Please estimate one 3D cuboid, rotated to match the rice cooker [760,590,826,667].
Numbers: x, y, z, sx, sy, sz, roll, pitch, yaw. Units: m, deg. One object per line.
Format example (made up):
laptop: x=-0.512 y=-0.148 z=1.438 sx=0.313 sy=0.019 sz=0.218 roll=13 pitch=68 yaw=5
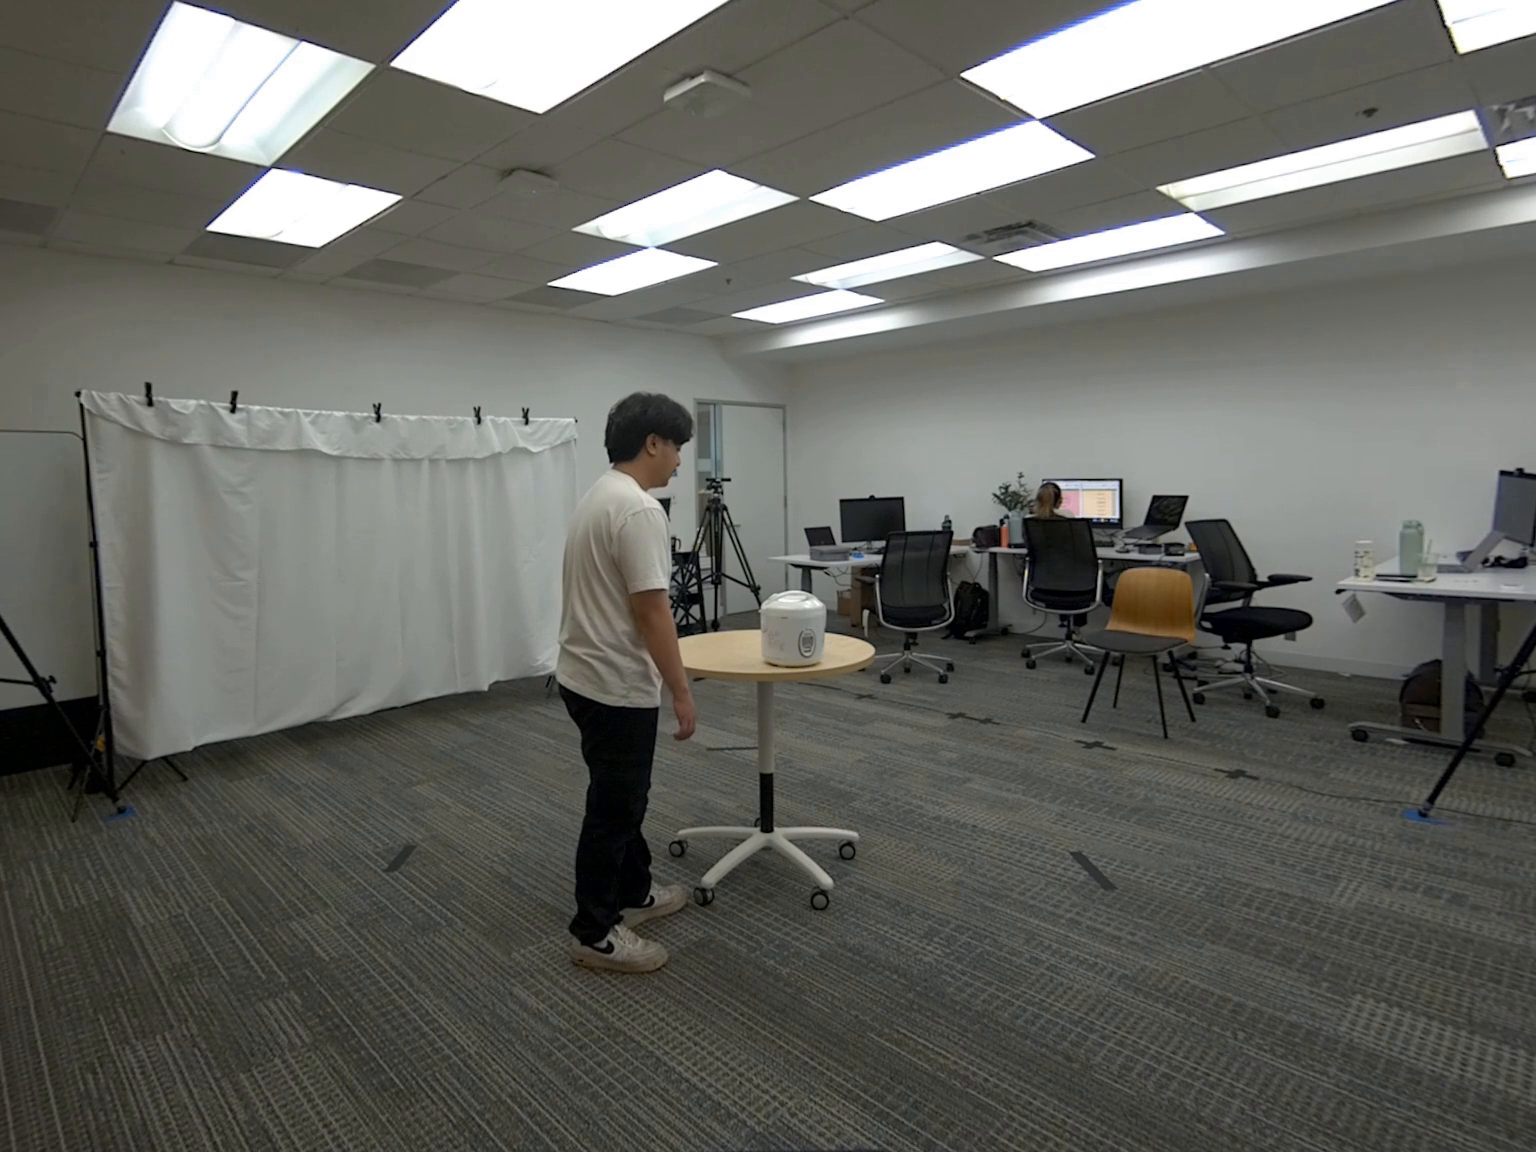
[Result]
rice cooker: x=0.086 y=0.165 z=2.767 sx=0.216 sy=0.232 sz=0.222 roll=-4 pitch=5 yaw=-23
